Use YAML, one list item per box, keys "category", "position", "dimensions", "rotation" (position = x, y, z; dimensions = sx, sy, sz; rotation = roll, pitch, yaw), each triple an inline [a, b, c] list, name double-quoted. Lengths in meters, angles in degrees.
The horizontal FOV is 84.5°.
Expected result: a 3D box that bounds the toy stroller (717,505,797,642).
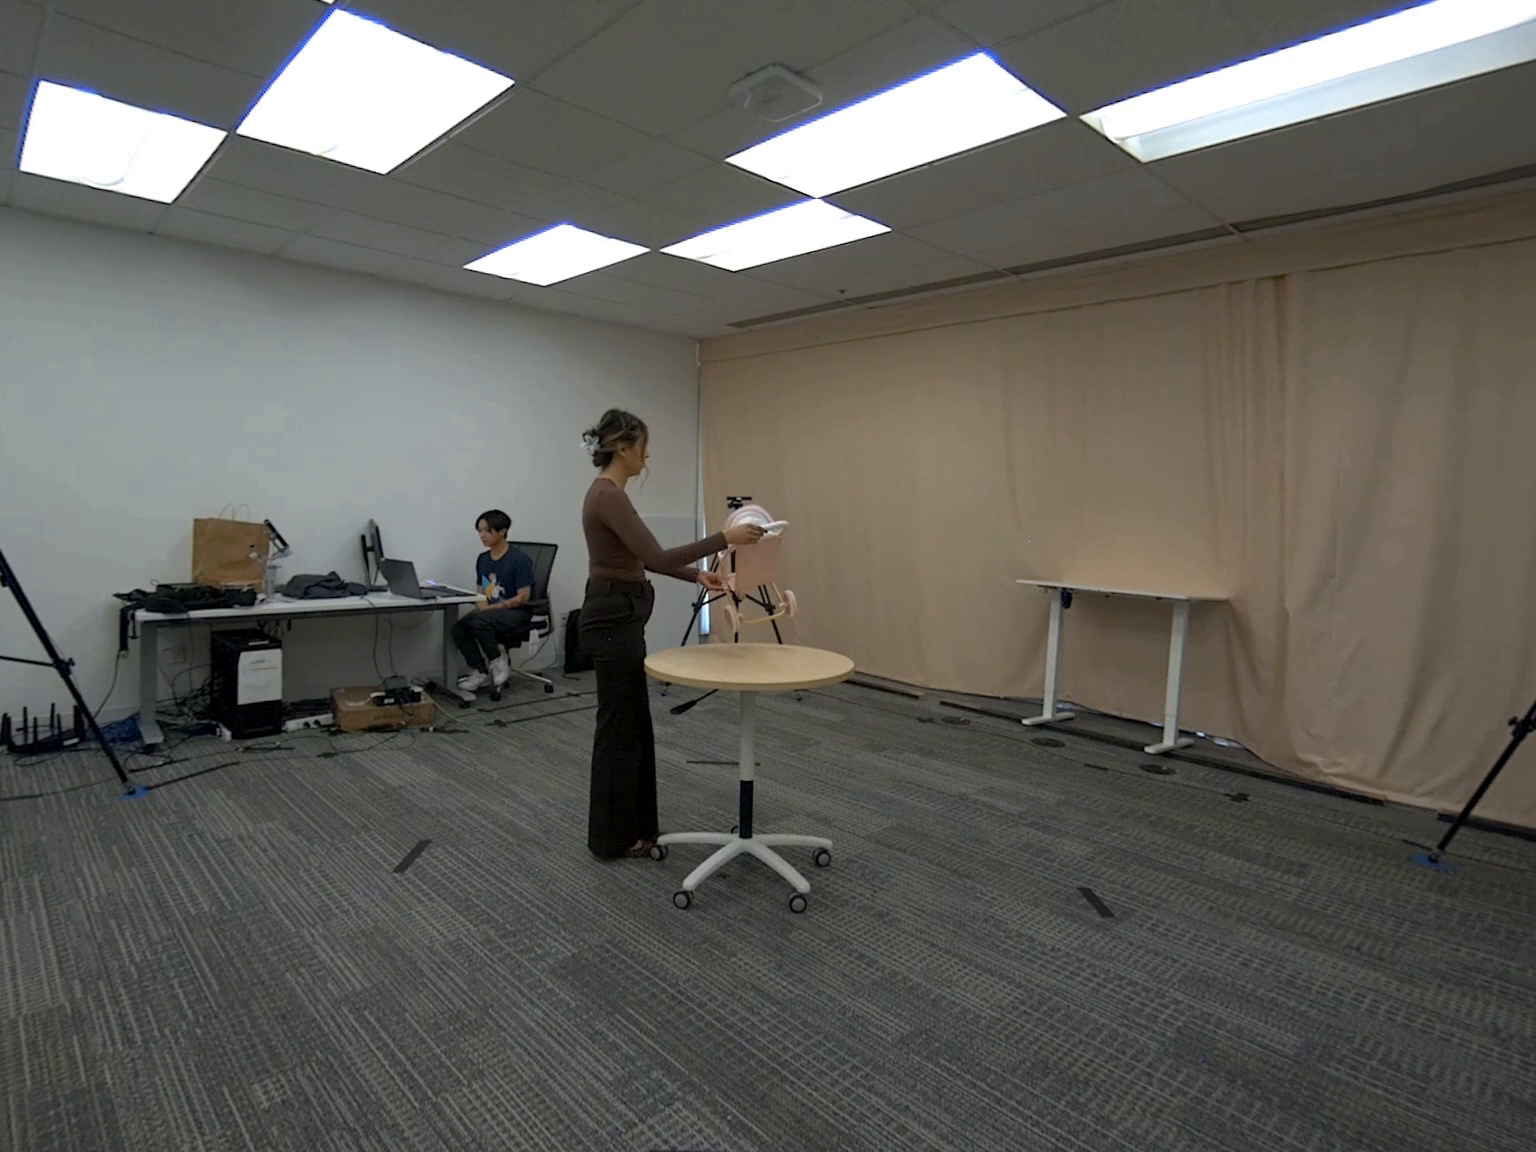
- category: "toy stroller"
  position: [-0.076, -0.047, 3.302]
  dimensions: [0.279, 0.524, 0.351]
  rotation: [-11, 35, -13]
